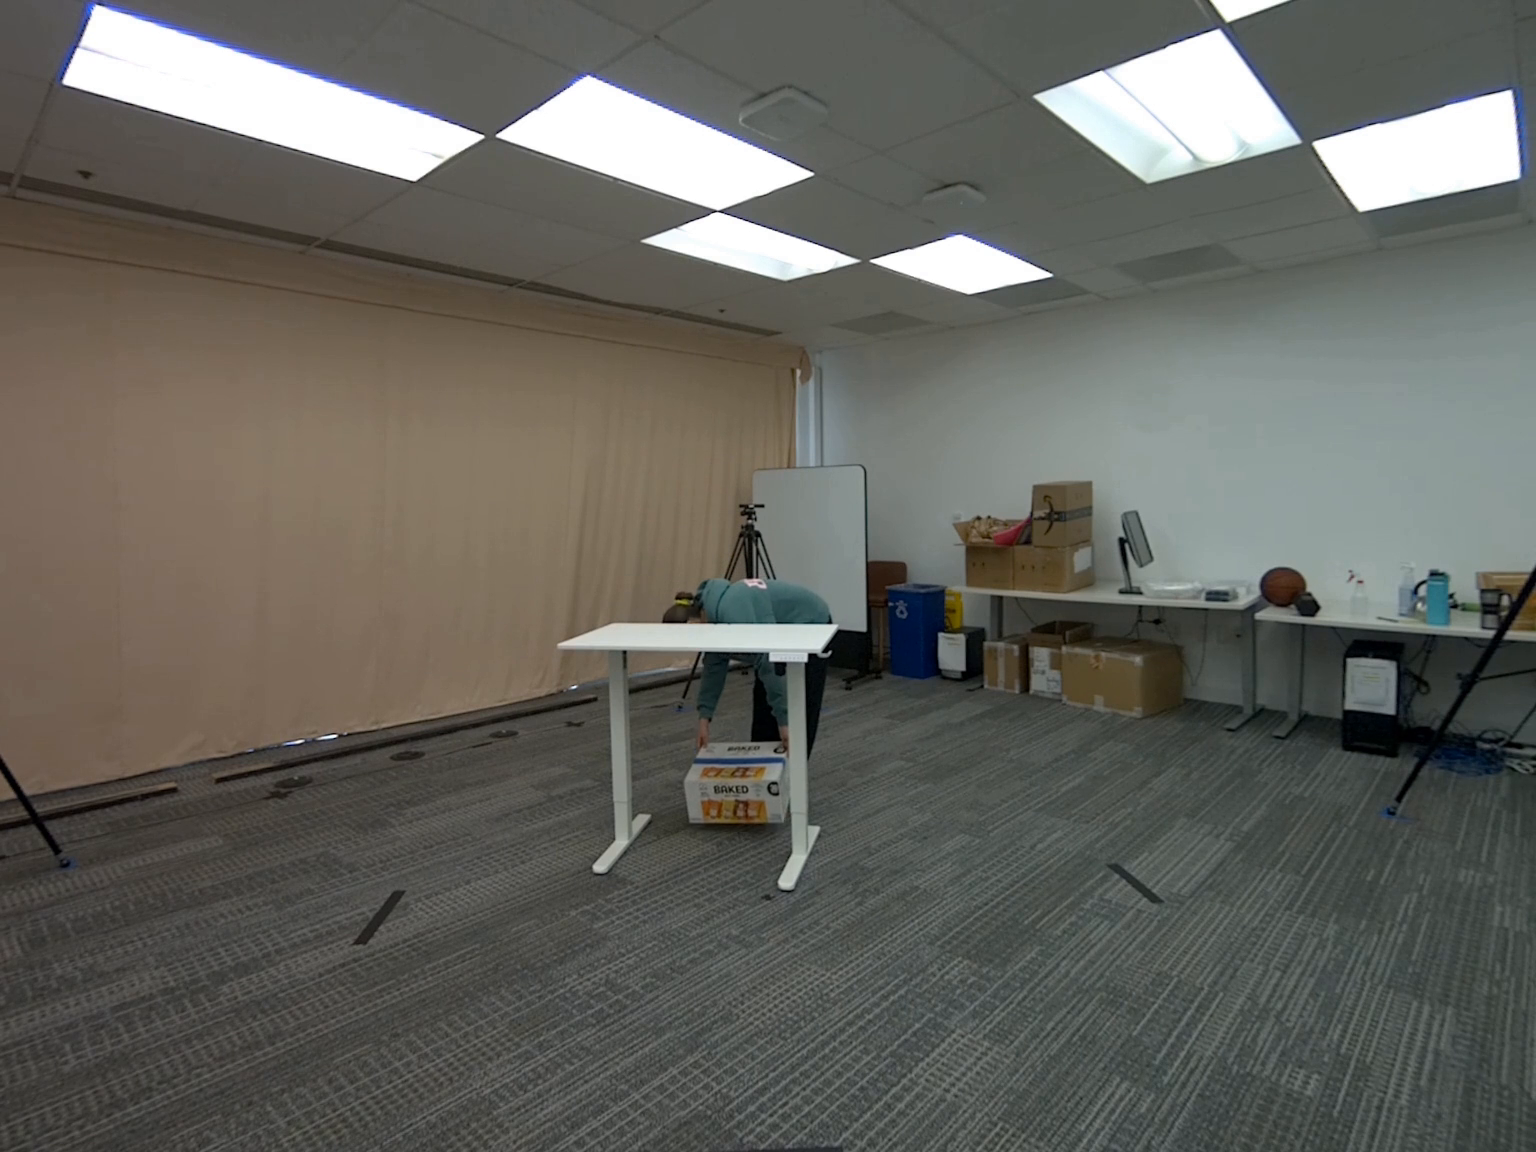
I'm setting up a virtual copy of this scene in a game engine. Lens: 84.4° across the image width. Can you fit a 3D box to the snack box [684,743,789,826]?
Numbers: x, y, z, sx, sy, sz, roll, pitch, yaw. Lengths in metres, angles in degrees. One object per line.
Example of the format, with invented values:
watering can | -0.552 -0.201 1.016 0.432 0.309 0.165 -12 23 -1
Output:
snack box | -0.120 0.893 3.668 0.411 0.203 0.339 -4 15 13
